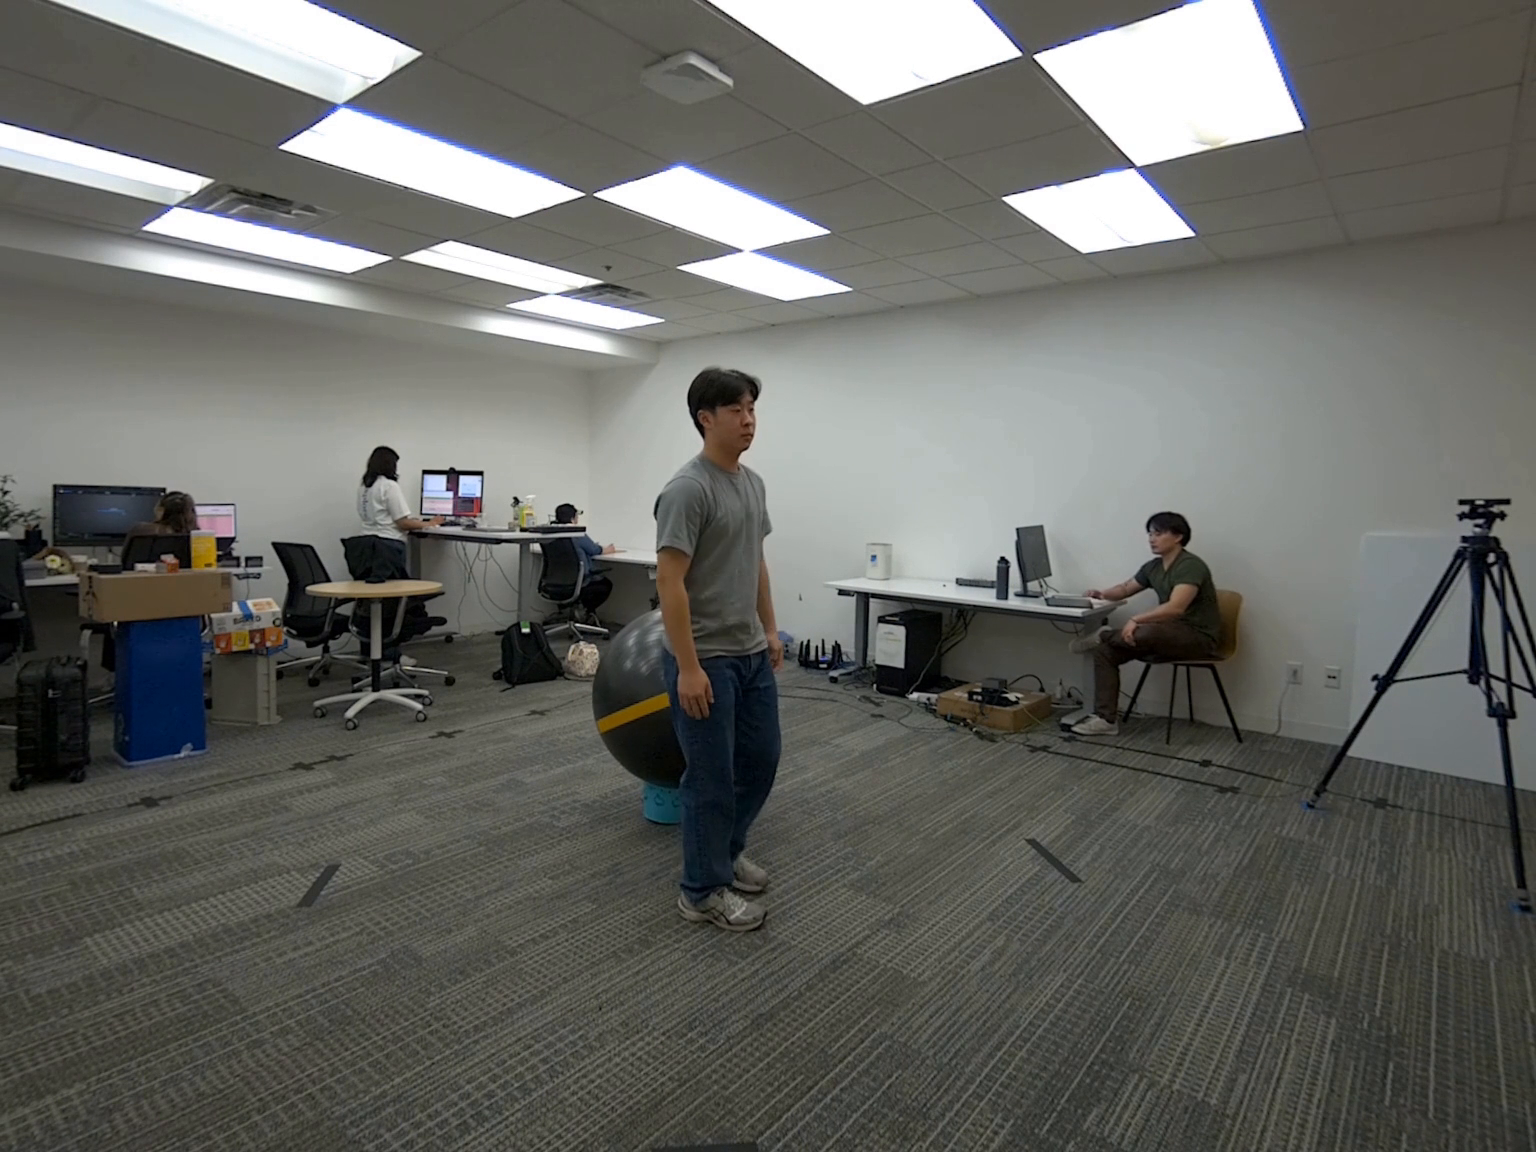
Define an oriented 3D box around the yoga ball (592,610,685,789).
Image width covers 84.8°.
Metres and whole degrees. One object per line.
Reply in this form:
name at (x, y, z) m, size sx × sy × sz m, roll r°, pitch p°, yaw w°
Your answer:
yoga ball at (-0.384, 0.509, 3.604) m, size 0.757 × 0.756 × 0.761 m, roll 1°, pitch 4°, yaw -2°
